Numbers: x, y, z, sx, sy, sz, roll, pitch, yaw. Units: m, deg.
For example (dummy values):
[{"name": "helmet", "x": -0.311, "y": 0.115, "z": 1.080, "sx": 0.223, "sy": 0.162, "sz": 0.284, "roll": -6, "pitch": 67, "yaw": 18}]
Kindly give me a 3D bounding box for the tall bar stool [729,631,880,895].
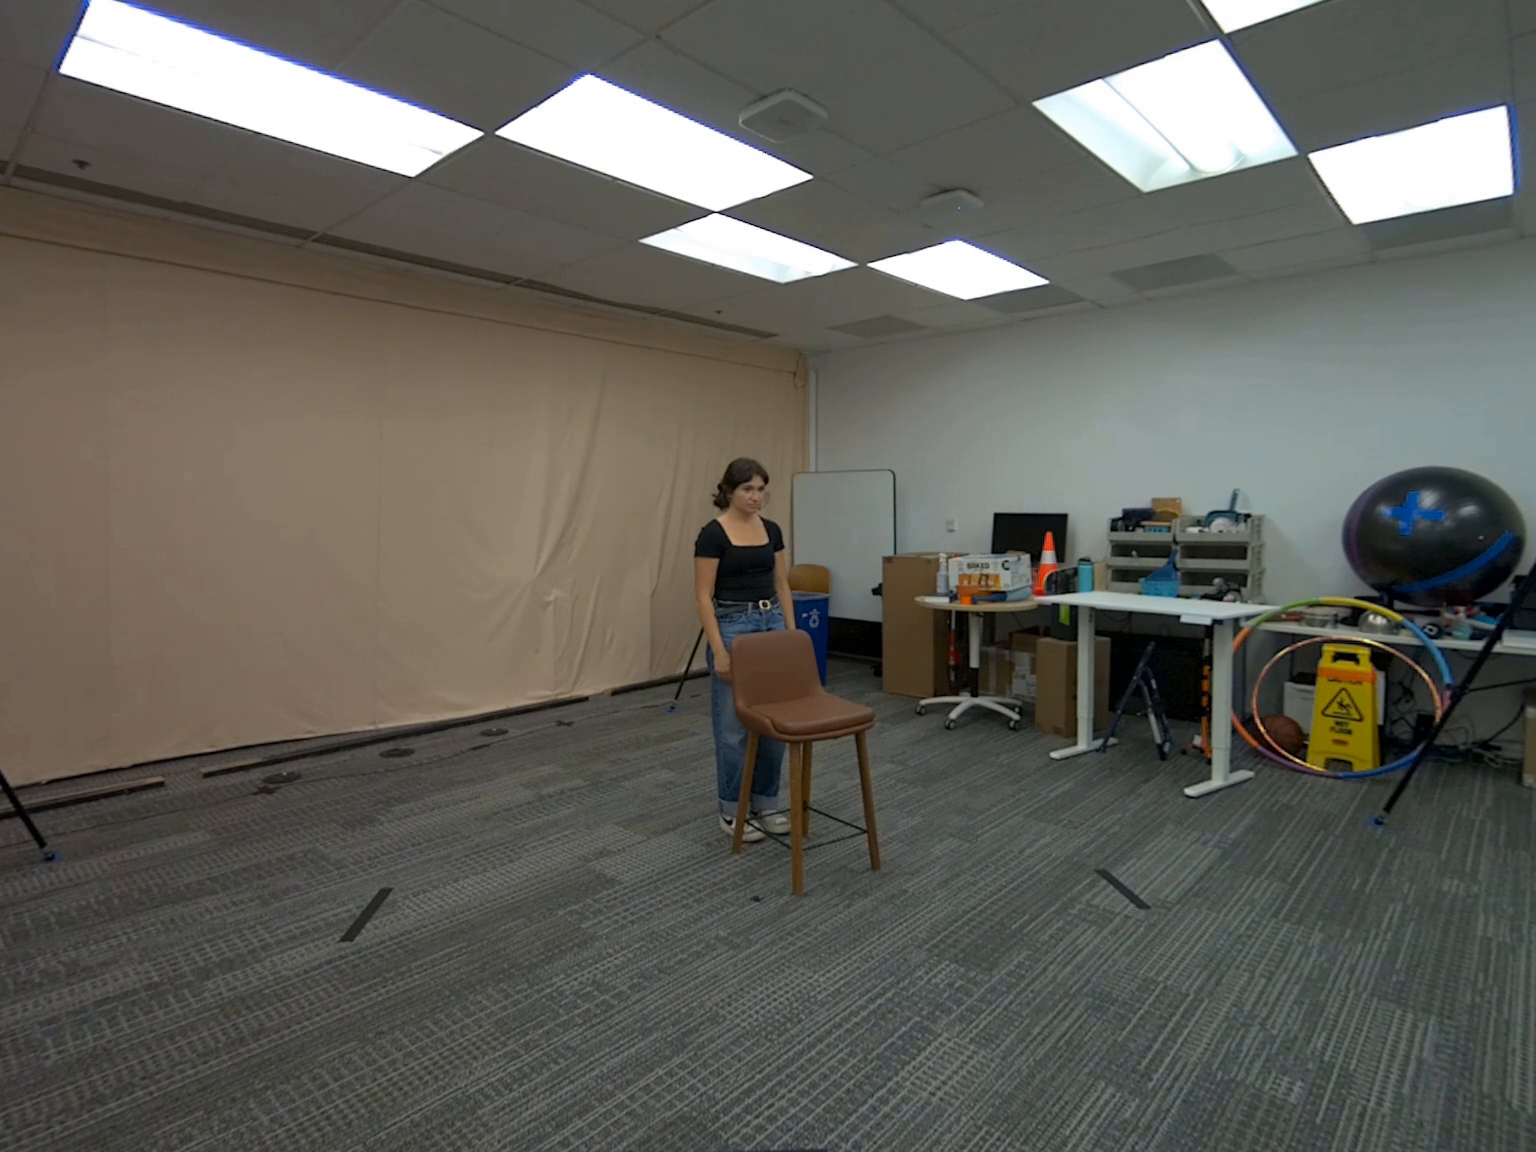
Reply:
[{"name": "tall bar stool", "x": 0.135, "y": 0.684, "z": 3.278, "sx": 0.443, "sy": 0.889, "sz": 0.482, "roll": -2, "pitch": 2, "yaw": -35}]
